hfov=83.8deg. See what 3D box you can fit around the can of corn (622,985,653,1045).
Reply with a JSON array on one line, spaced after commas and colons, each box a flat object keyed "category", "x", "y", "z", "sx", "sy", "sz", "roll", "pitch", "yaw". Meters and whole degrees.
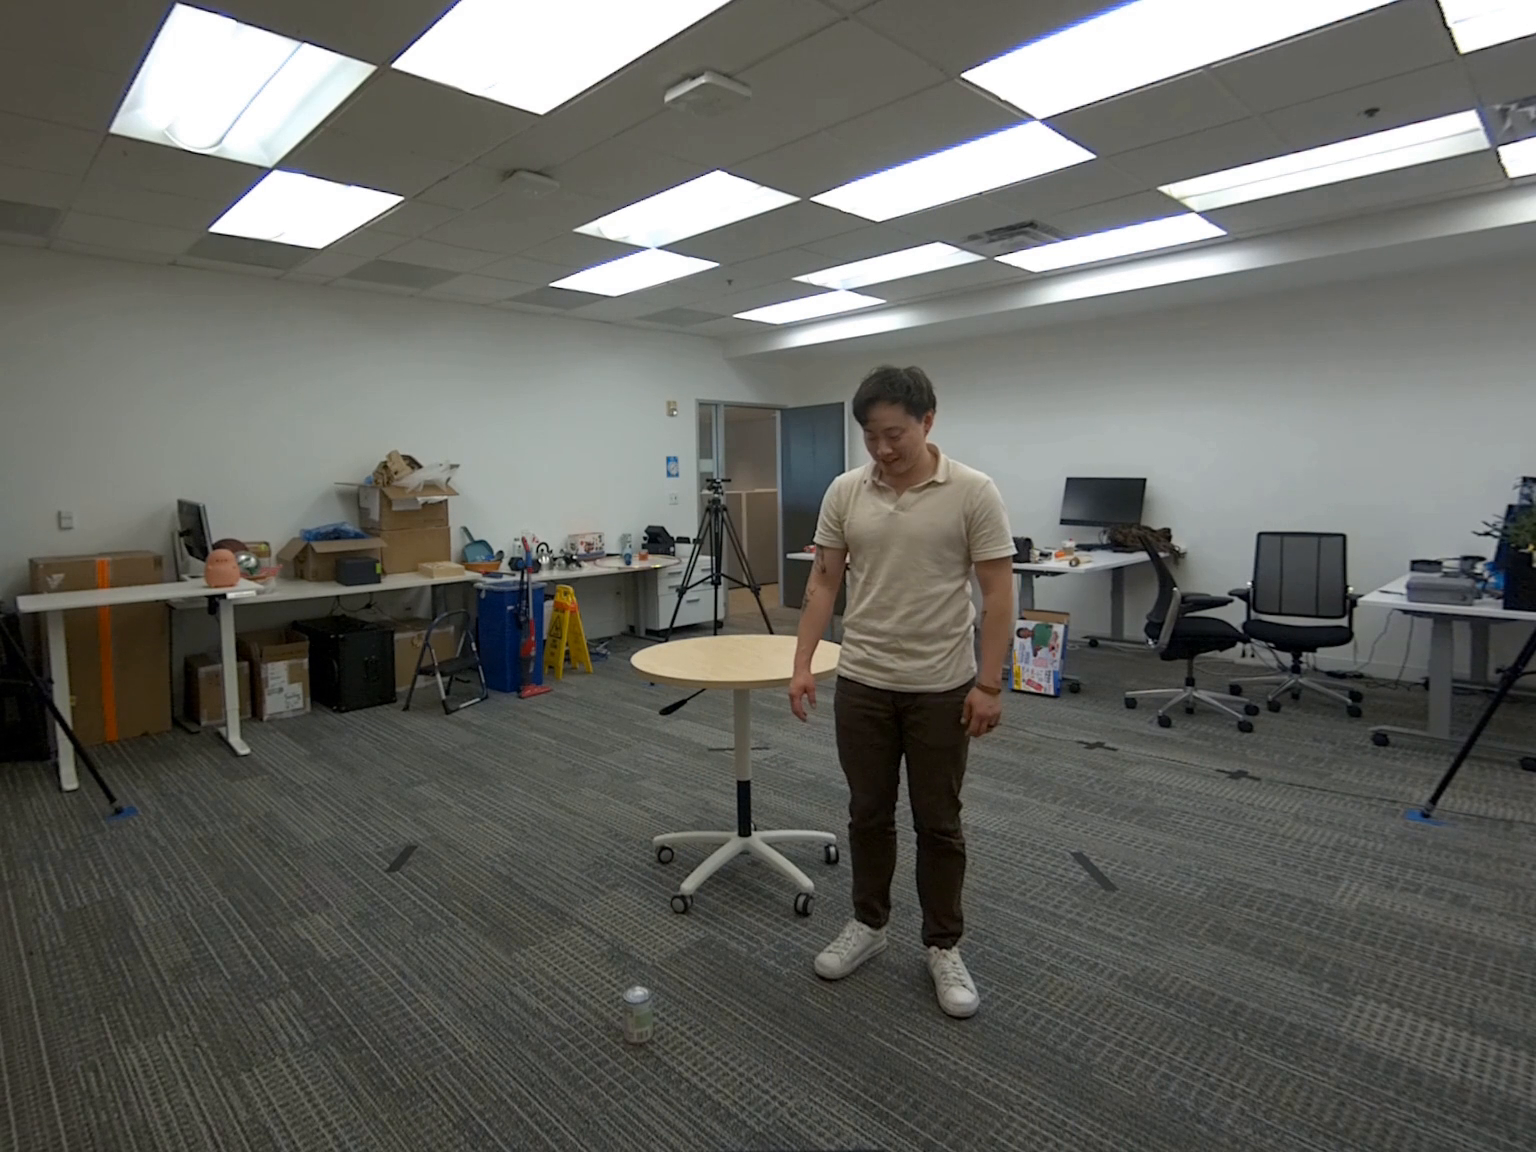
[{"category": "can of corn", "x": -0.317, "y": 1.106, "z": 2.144, "sx": 0.074, "sy": 0.110, "sz": 0.075, "roll": 1, "pitch": 9, "yaw": -2}]
